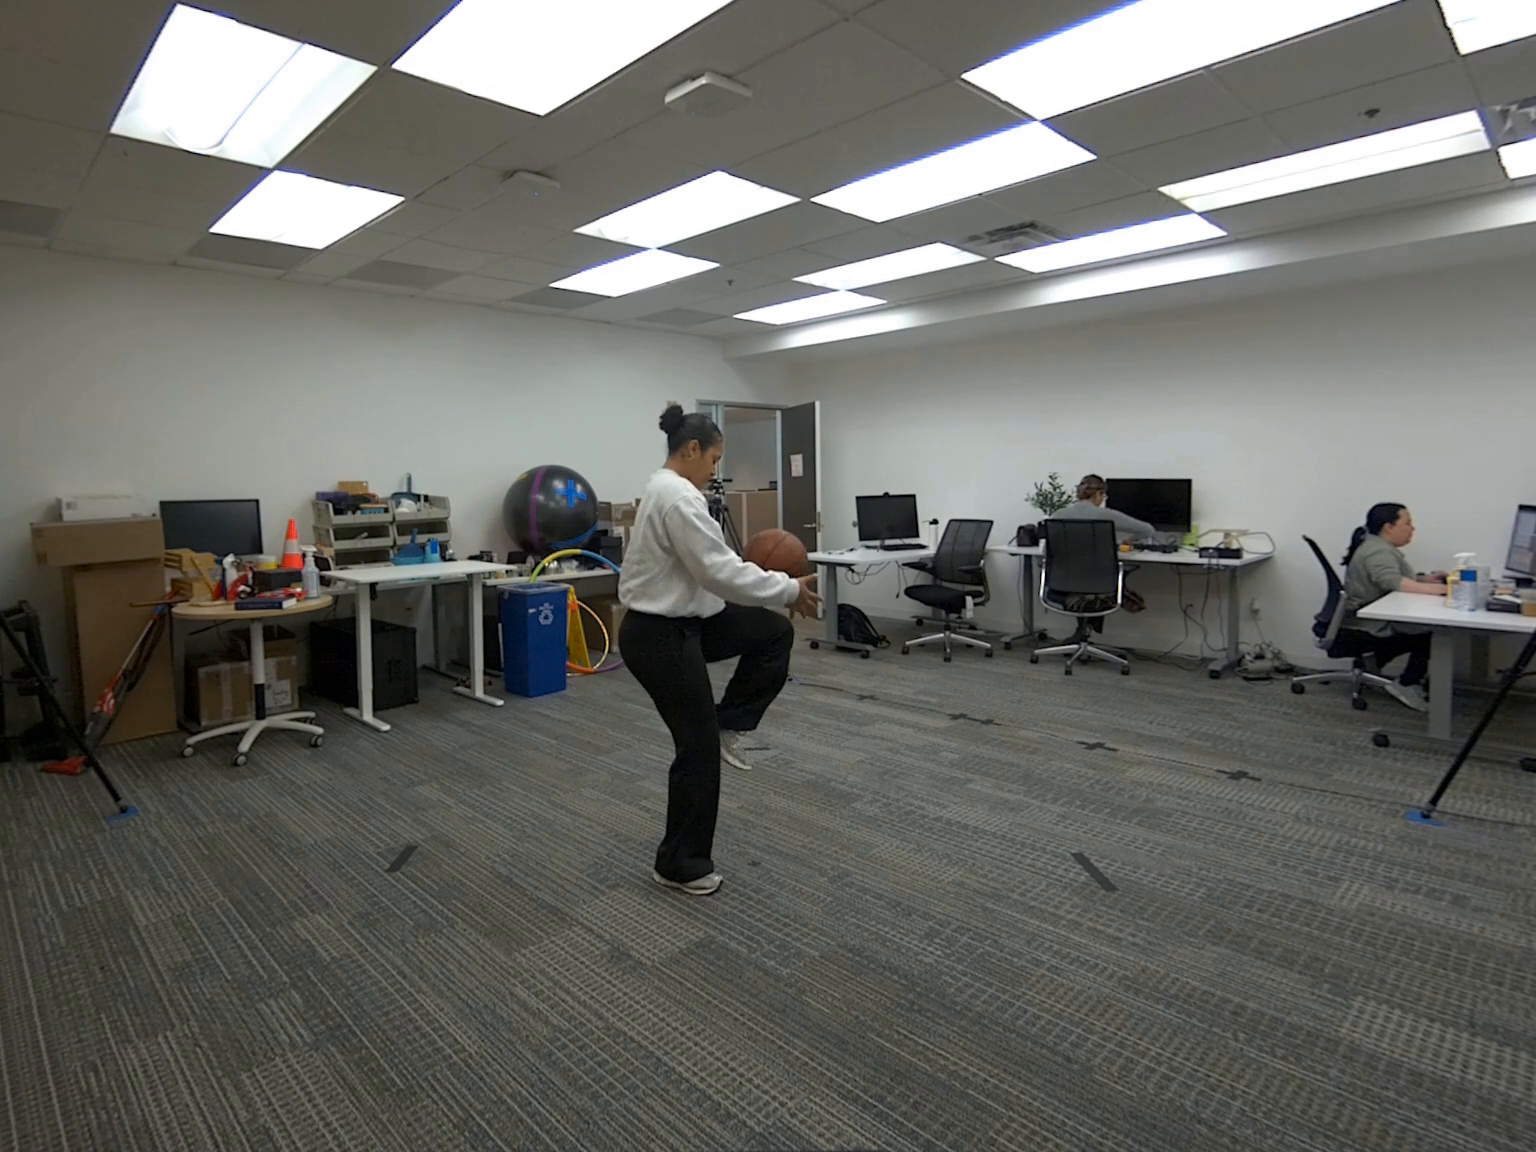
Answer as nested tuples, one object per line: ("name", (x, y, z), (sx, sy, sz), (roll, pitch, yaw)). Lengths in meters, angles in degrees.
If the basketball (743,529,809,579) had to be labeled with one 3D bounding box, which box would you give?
("basketball", (0.027, -0.023, 3.013), (0.236, 0.235, 0.237), (-1, 5, -2))
